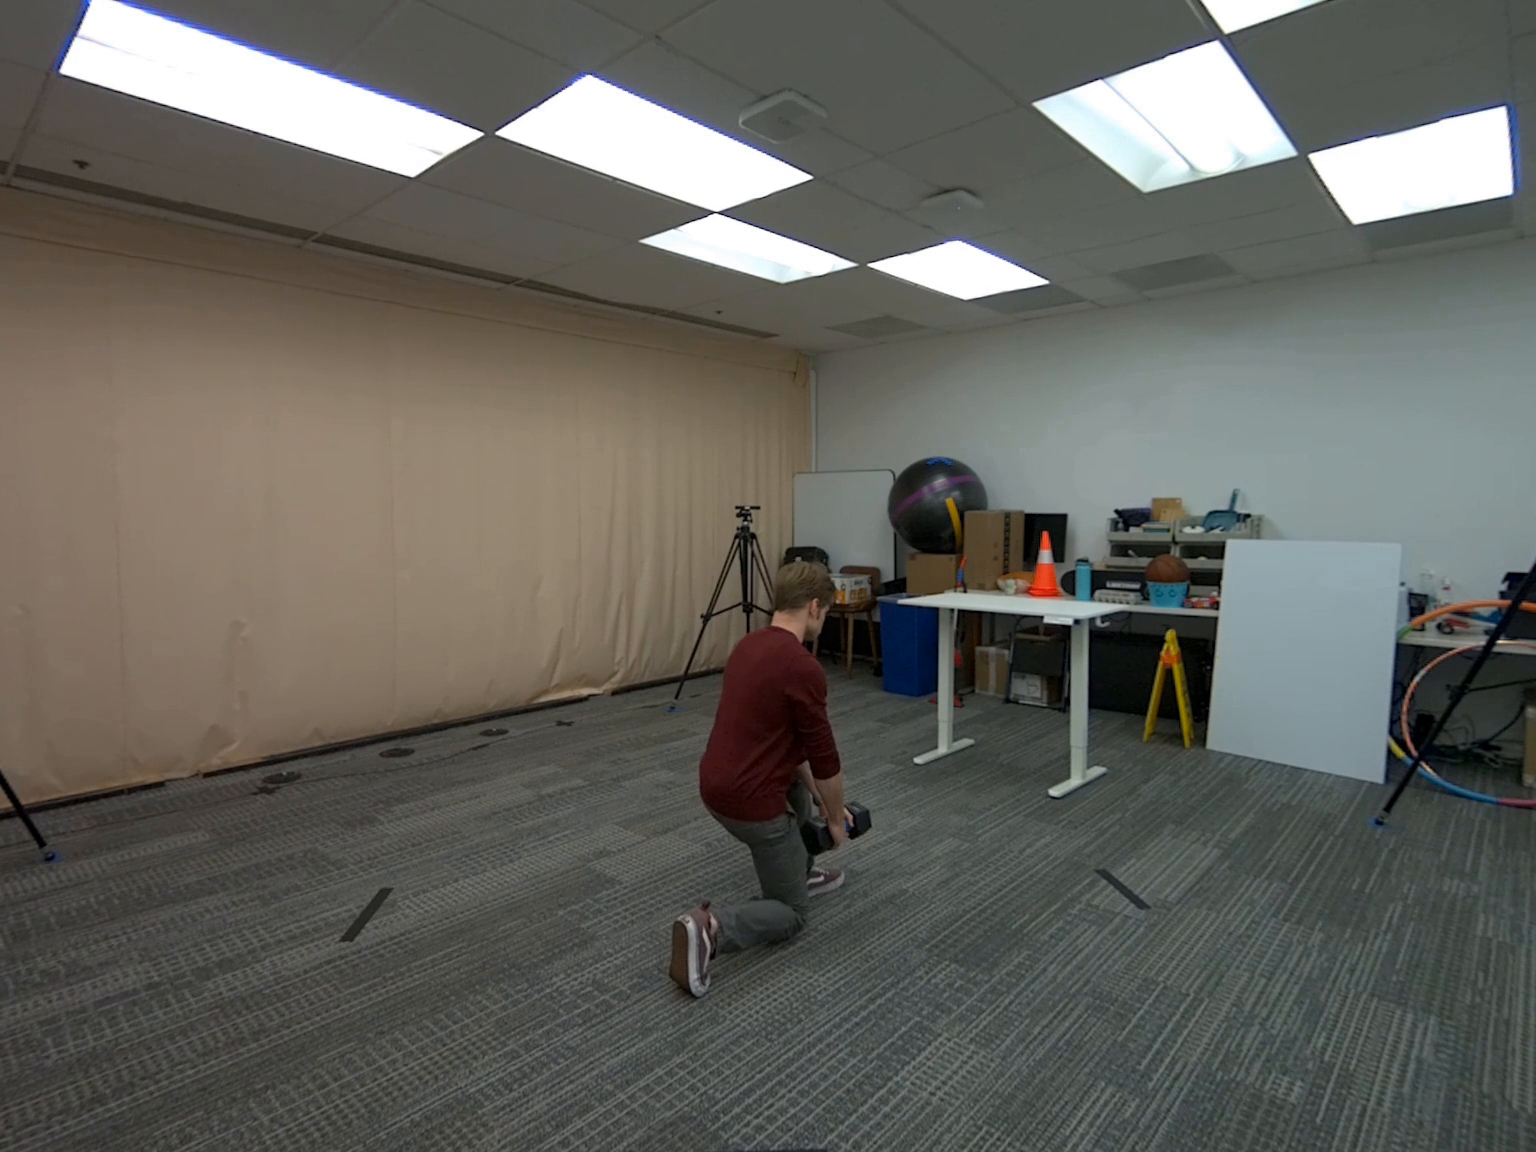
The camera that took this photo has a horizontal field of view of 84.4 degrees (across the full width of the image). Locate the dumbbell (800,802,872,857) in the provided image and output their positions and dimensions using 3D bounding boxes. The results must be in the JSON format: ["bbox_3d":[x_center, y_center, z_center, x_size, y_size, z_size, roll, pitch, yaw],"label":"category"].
[{"bbox_3d":[0.231,0.861,2.909,0.284,0.123,0.112,-4,48,-42],"label":"dumbbell"}]
